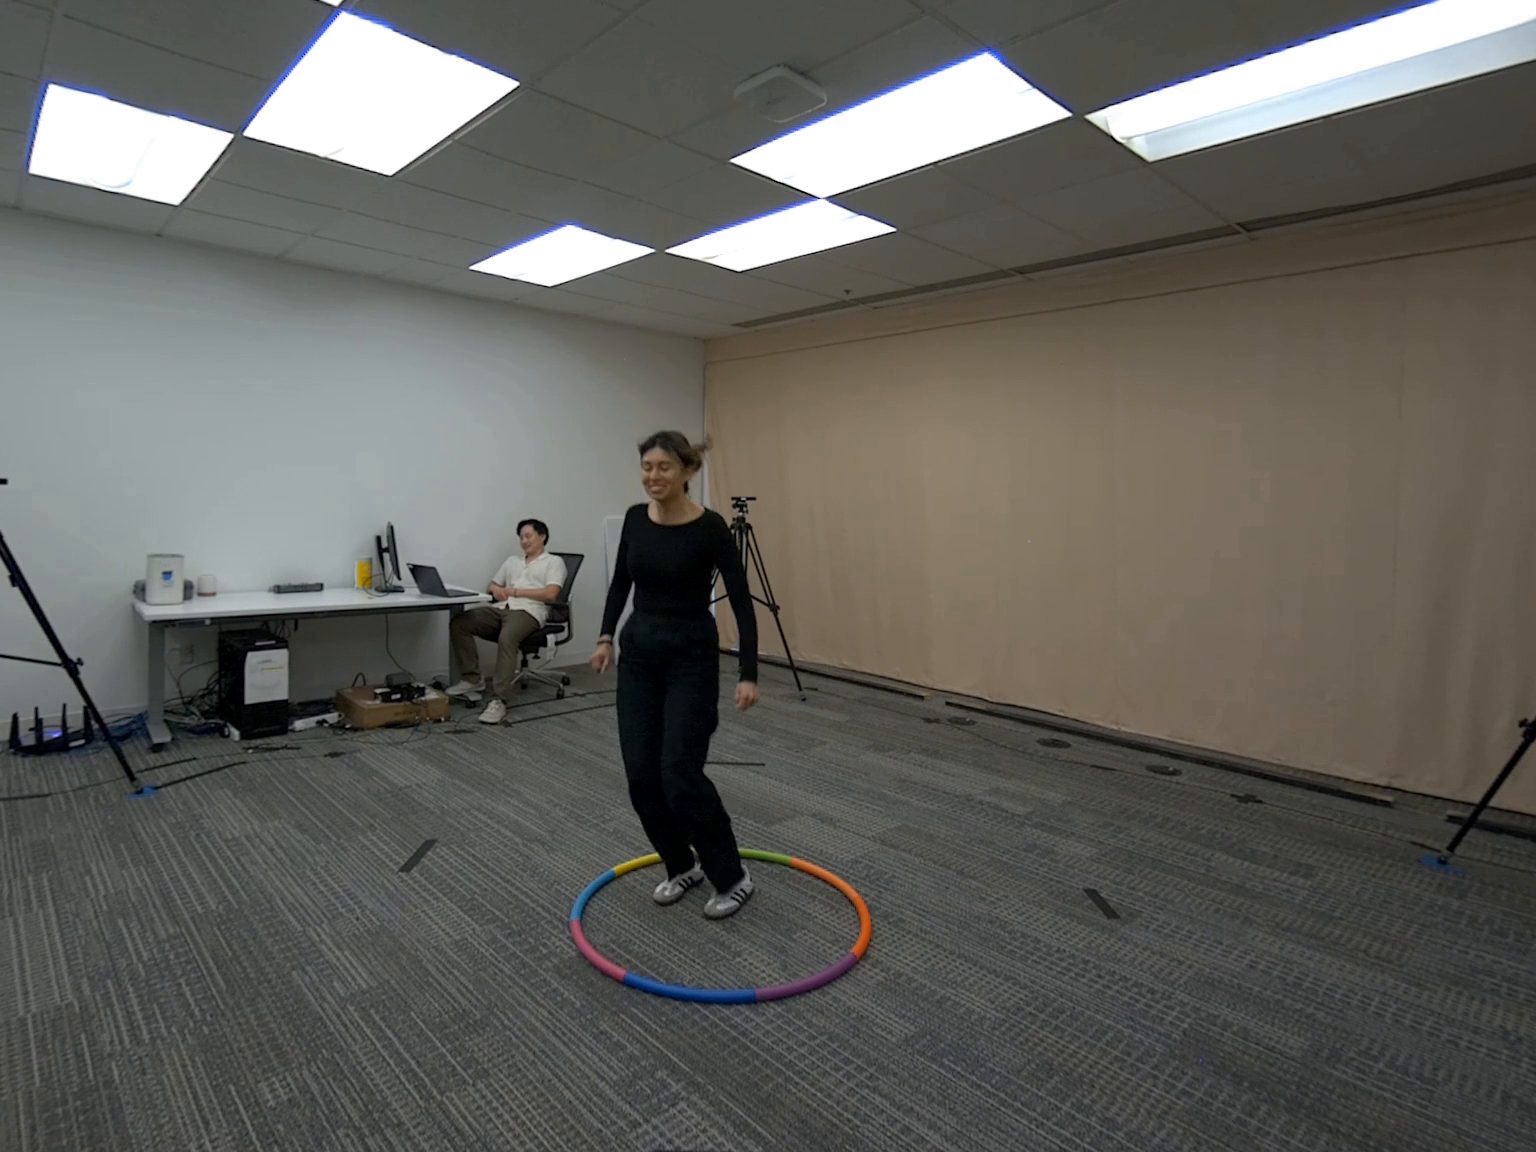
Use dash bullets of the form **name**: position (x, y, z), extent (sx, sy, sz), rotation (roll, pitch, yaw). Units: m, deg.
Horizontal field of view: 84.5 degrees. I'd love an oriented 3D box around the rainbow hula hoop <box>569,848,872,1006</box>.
- **rainbow hula hoop**: position (-0.163, 1.106, 2.801), extent (0.978, 0.035, 0.982), rotation (1, 5, -1)
